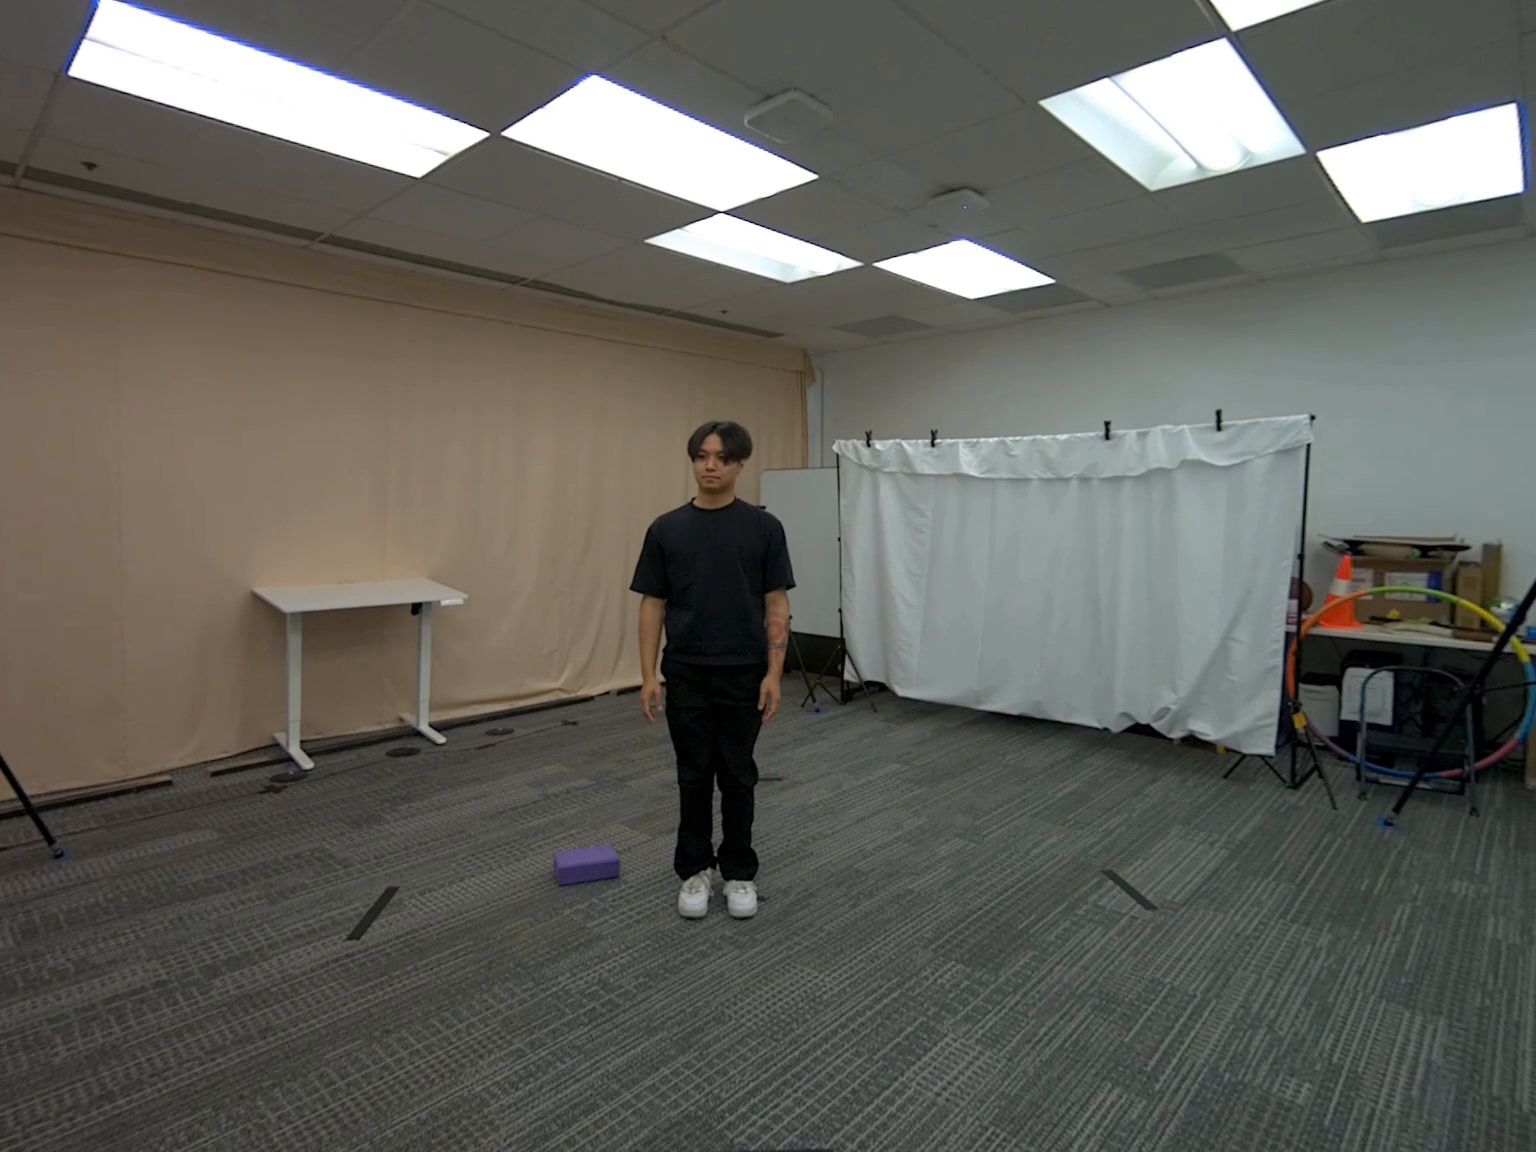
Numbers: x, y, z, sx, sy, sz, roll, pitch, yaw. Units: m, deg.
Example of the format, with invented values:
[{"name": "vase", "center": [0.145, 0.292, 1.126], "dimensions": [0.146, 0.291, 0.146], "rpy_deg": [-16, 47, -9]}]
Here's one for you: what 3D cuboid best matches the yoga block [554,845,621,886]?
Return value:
[{"name": "yoga block", "center": [-0.689, 1.094, 3.187], "dimensions": [0.225, 0.076, 0.152], "rpy_deg": [-1, 5, -19]}]
